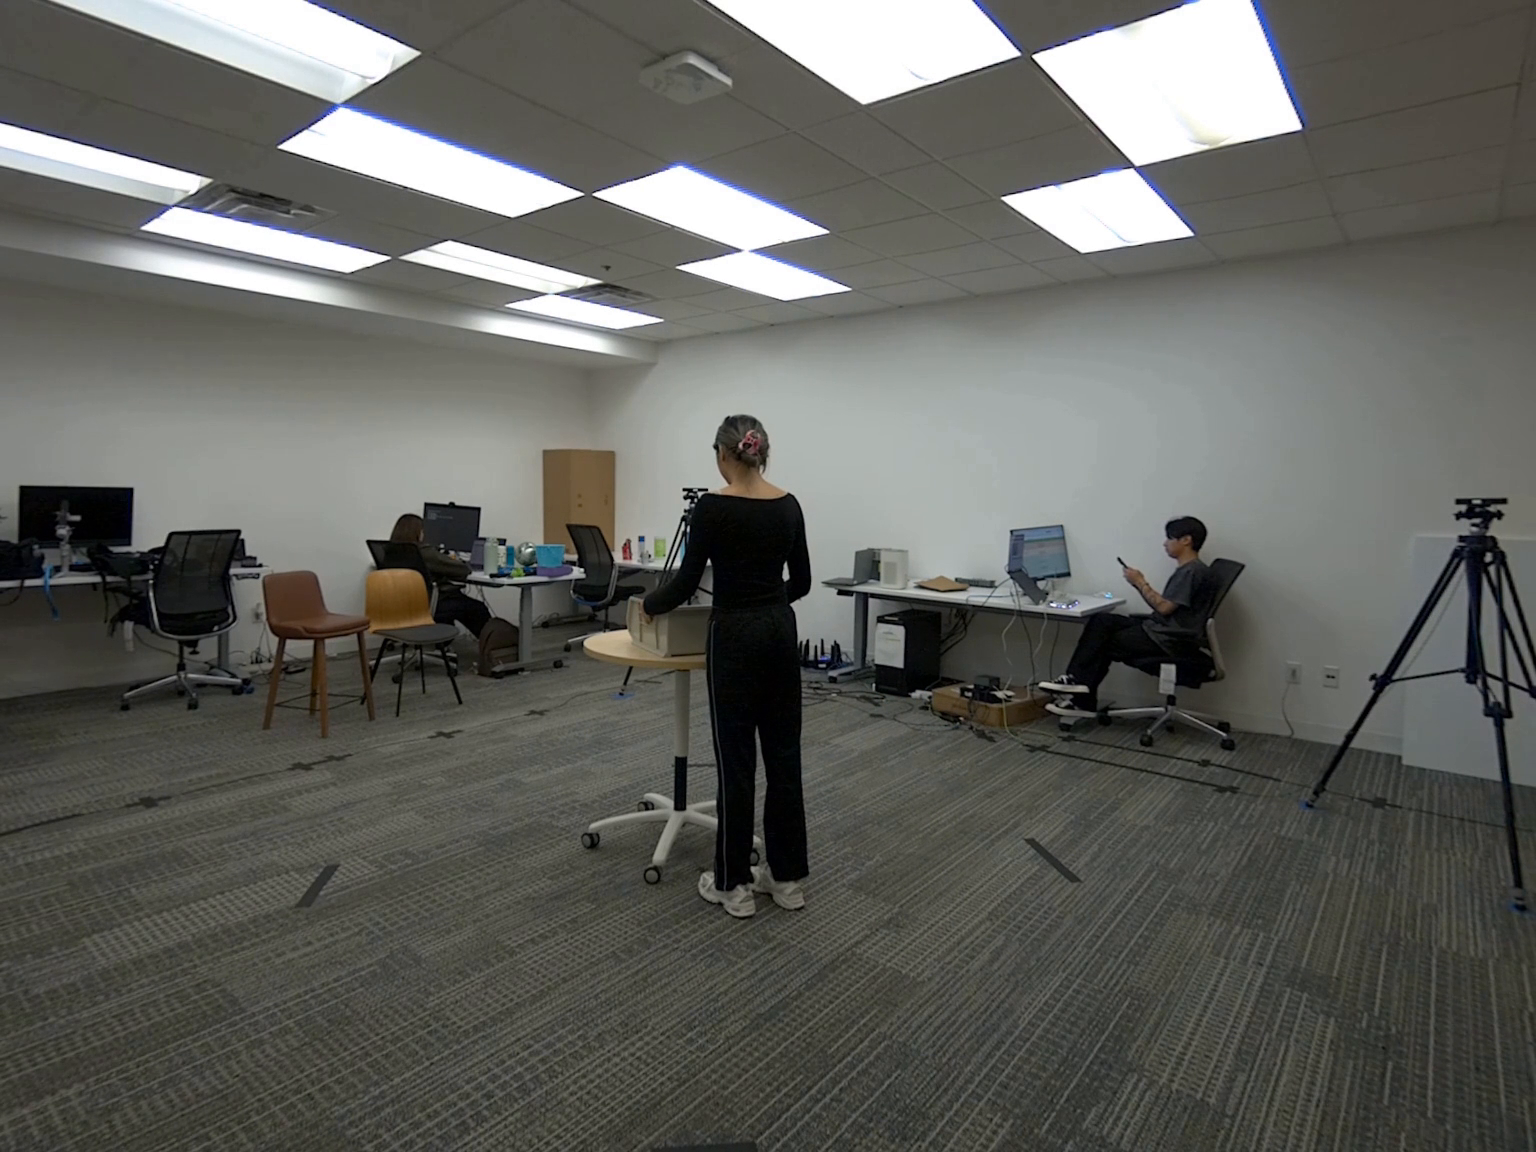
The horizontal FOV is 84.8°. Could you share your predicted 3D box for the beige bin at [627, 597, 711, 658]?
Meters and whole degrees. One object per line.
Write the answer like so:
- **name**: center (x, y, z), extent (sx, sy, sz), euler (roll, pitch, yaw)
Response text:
- **beige bin**: center (-0.286, 0.173, 3.220), extent (0.411, 0.188, 0.389), euler (0, 6, -28)
